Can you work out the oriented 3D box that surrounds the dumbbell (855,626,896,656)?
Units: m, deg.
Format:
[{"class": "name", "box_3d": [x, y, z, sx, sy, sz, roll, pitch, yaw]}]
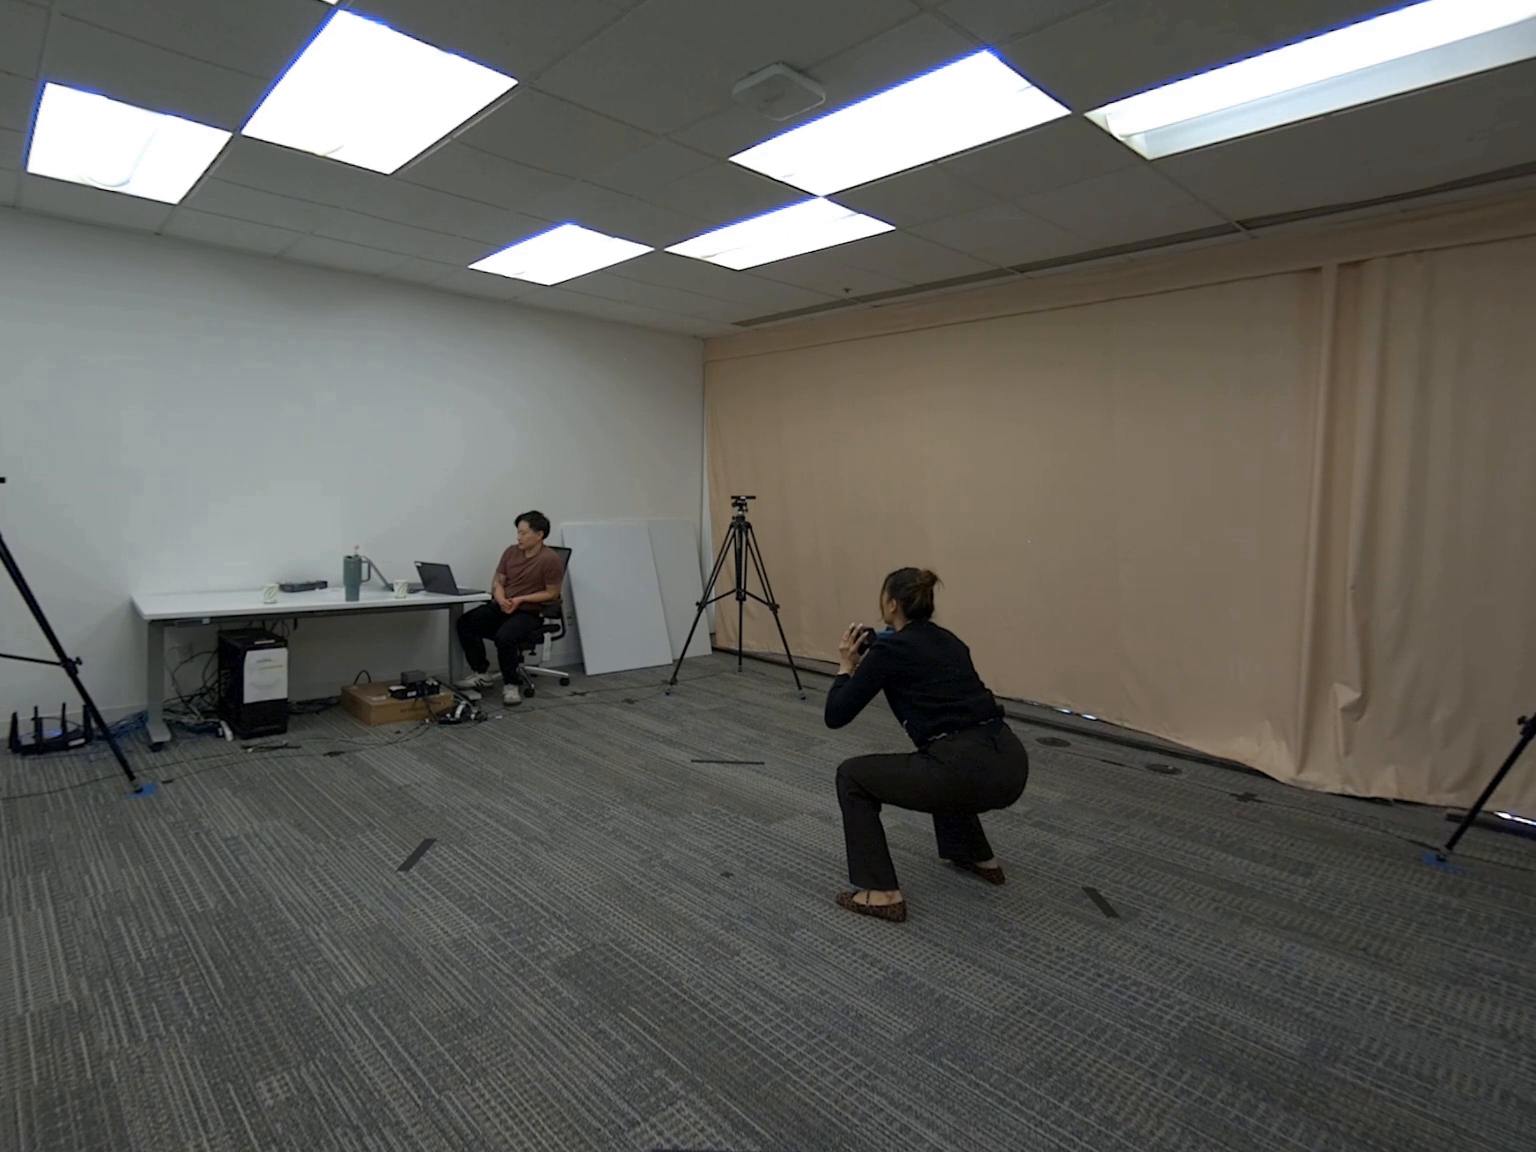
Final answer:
[{"class": "dumbbell", "box_3d": [0.441, 0.240, 3.213, 0.287, 0.122, 0.112, -2, 36, -38]}]
